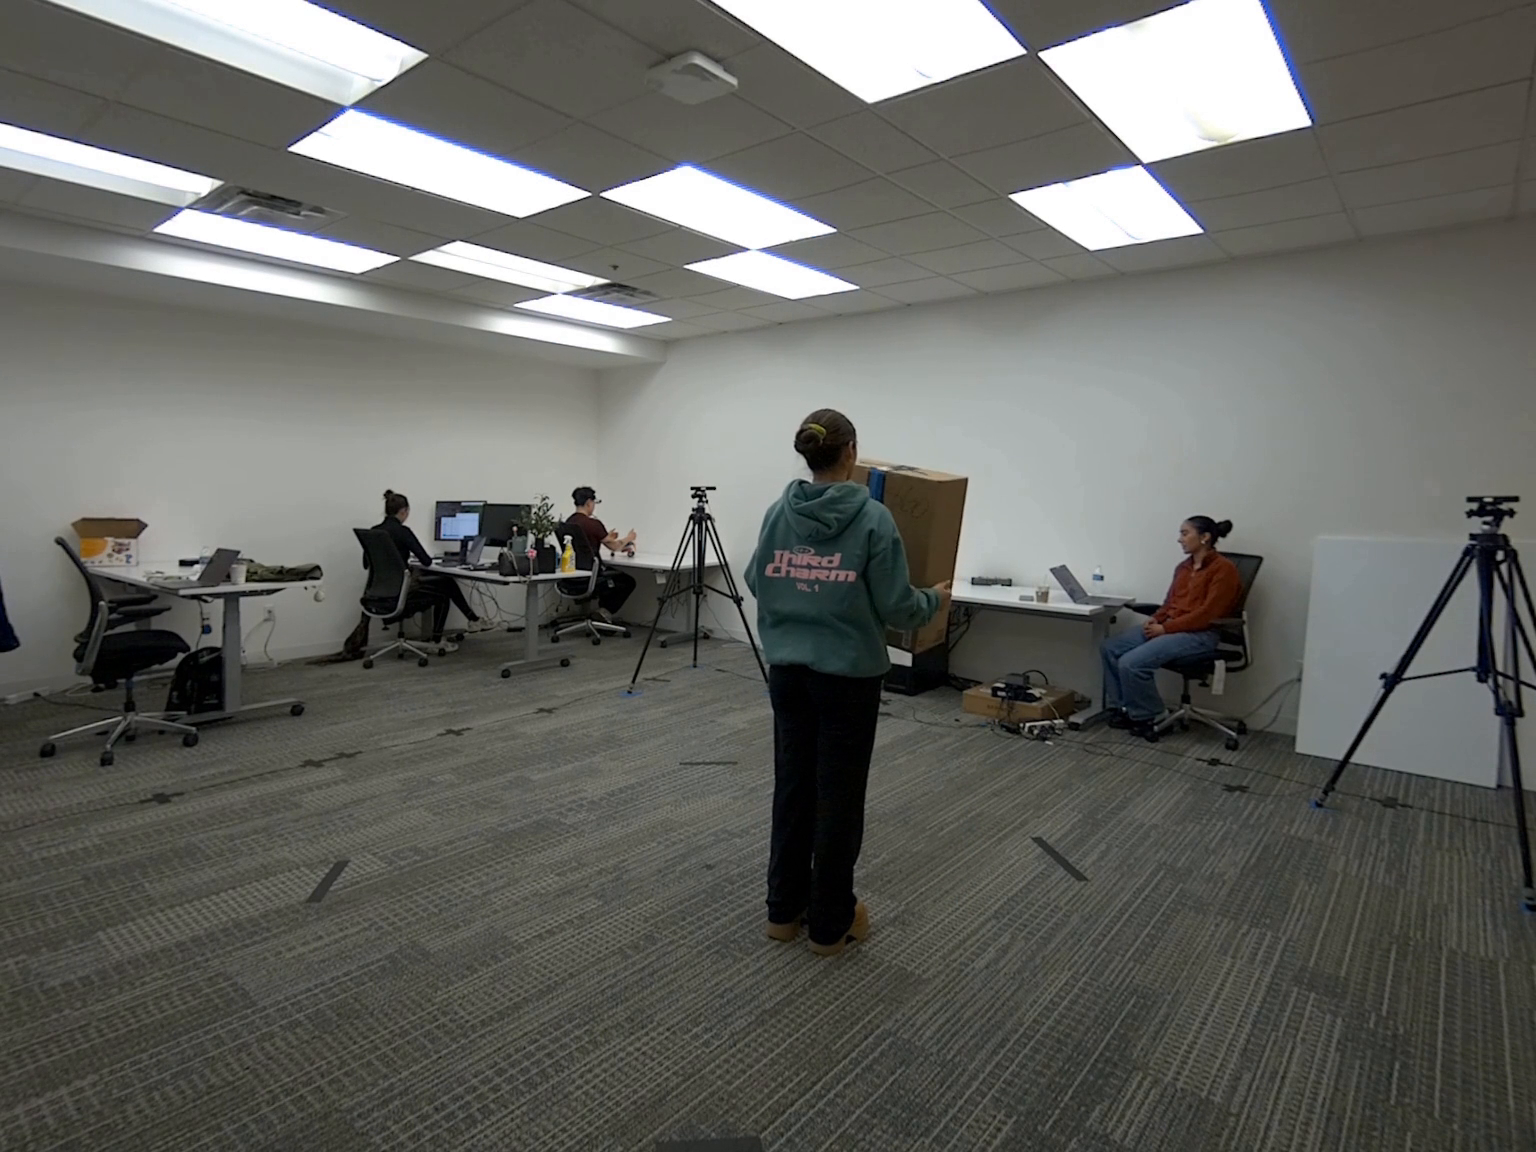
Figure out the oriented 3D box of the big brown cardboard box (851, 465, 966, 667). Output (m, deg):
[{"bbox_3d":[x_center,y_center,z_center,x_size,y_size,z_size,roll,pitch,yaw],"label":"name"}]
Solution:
[{"bbox_3d":[0.386,-0.056,2.874,0.433,0.583,0.227,15,14,38],"label":"big brown cardboard box"}]
